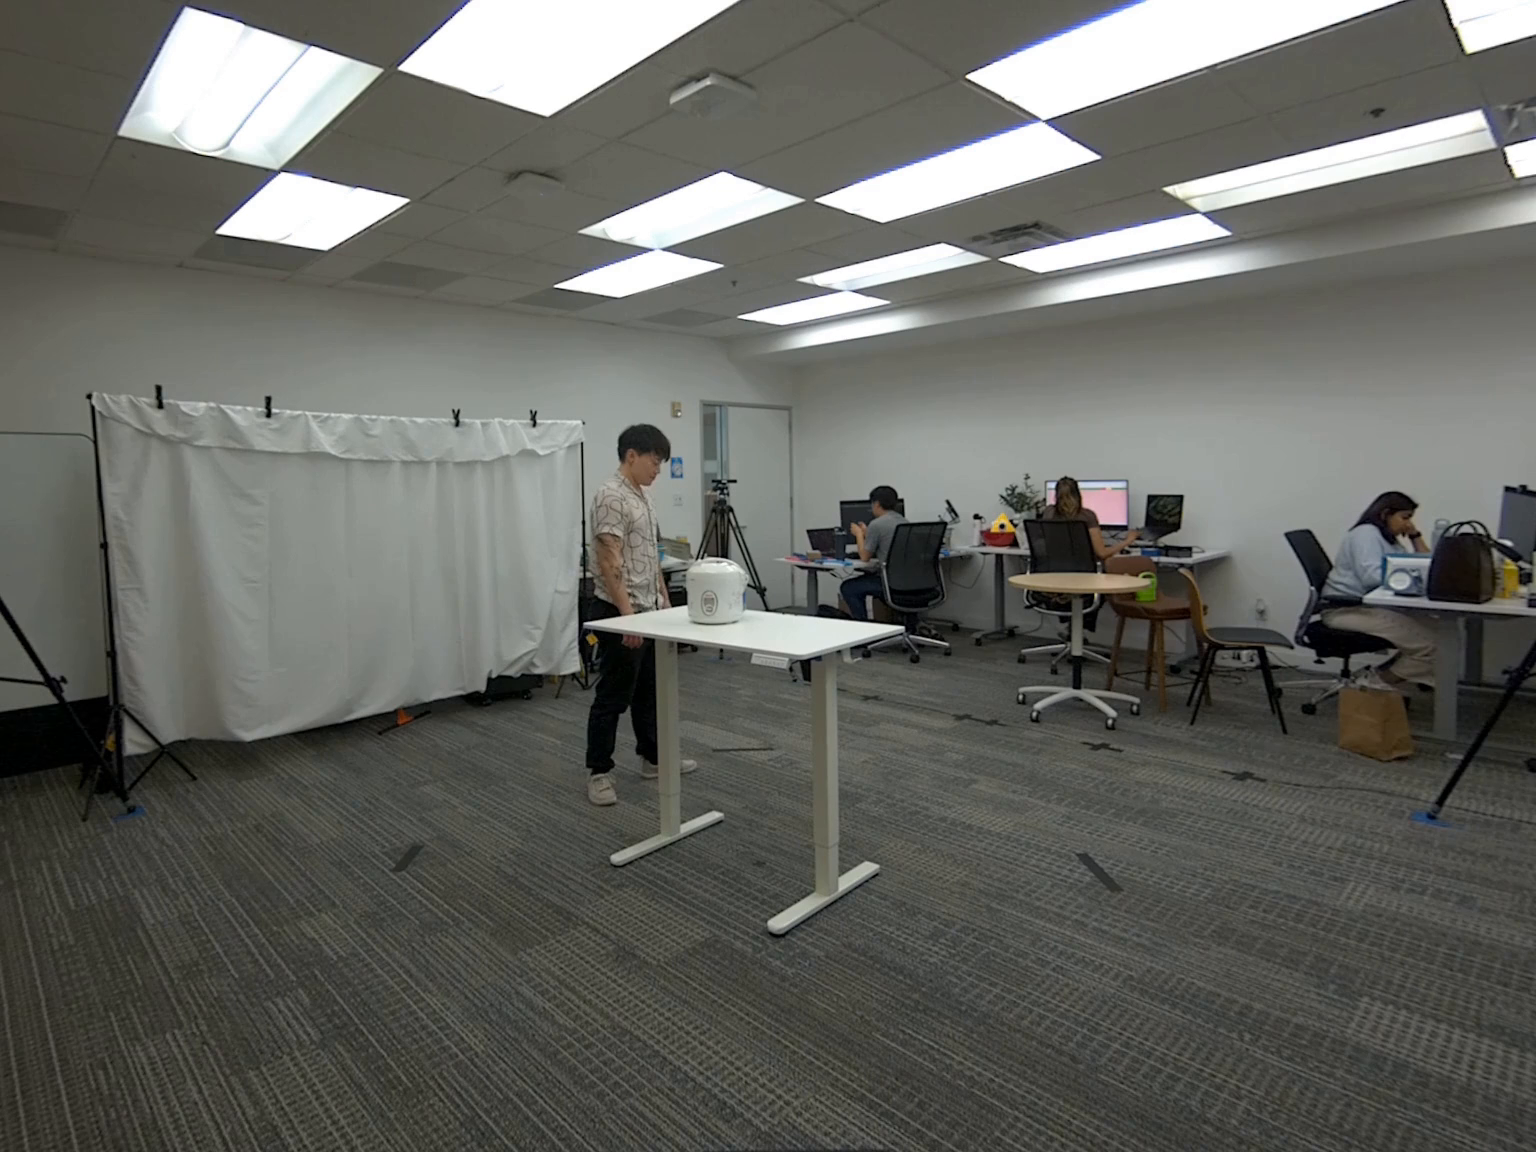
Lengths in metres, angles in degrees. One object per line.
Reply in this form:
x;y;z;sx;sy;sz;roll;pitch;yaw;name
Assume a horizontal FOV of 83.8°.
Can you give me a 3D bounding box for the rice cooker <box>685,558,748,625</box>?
-0.187;0.049;3.121;0.223;0.232;0.216;-1;4;10;rice cooker
